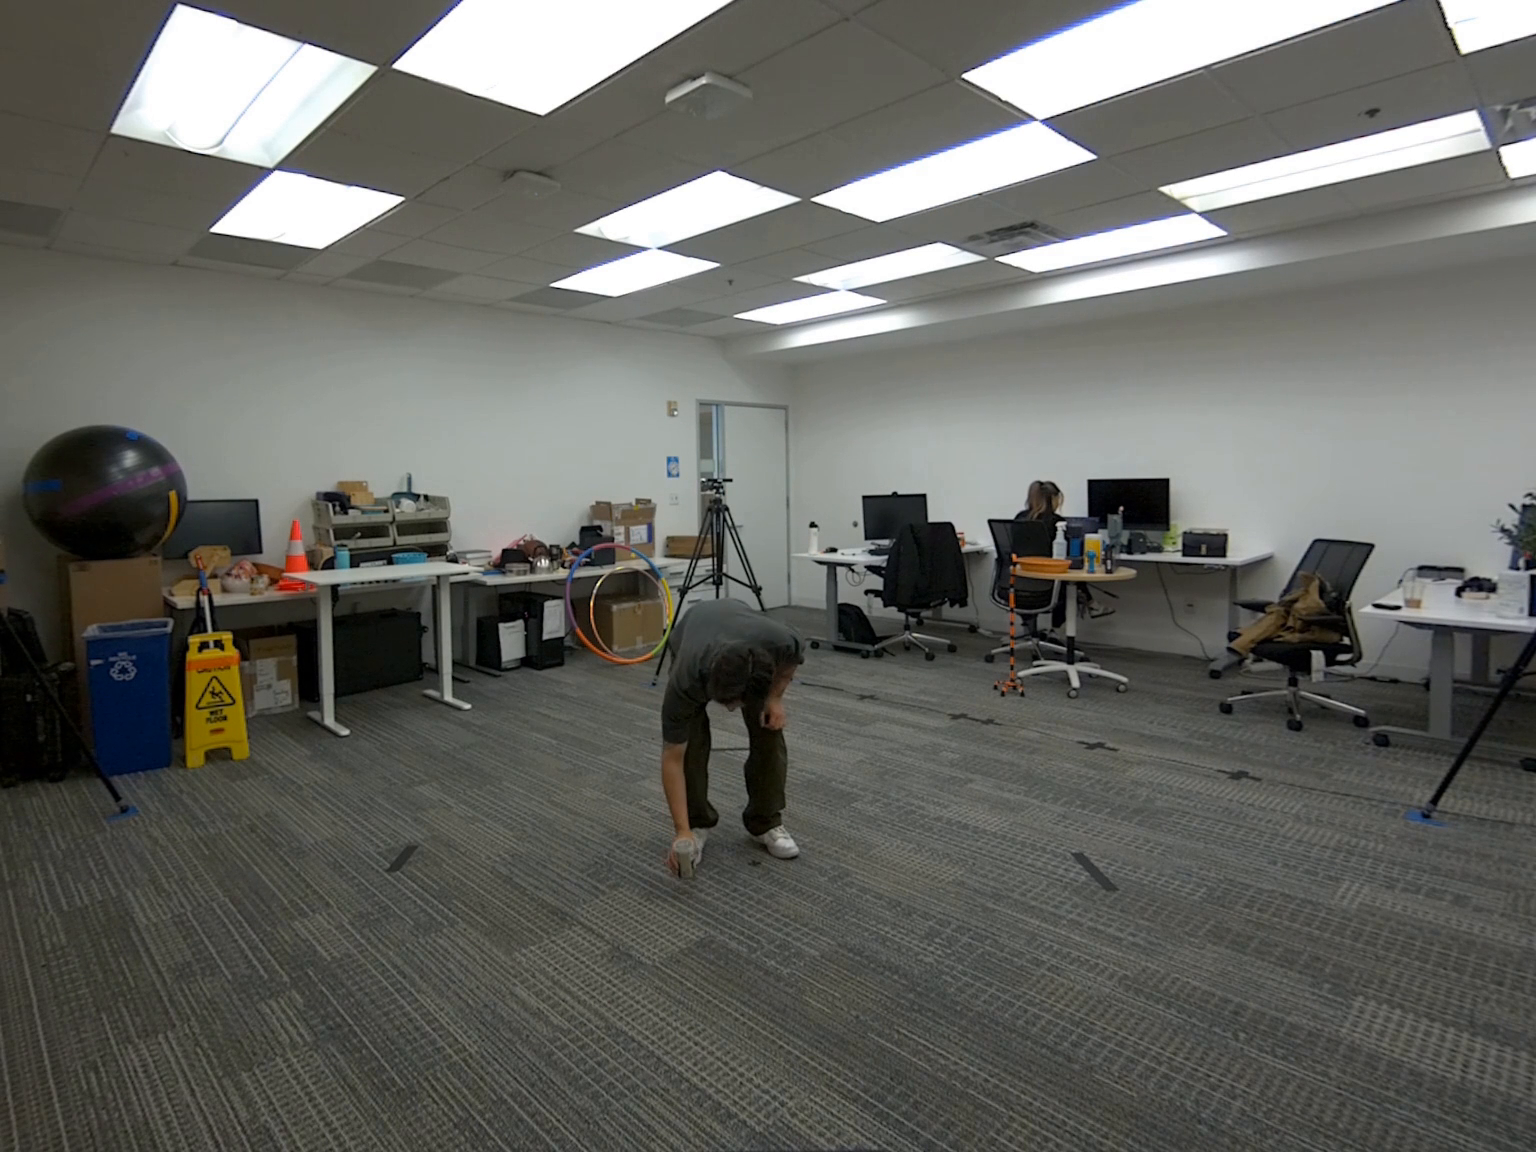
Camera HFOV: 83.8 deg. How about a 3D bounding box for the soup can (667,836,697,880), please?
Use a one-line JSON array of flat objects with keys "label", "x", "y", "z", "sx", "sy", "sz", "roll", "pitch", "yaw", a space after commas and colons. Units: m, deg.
[{"label": "soup can", "x": -0.278, "y": 0.948, "z": 2.851, "sx": 0.067, "sy": 0.120, "sz": 0.068, "roll": -1, "pitch": 12, "yaw": -2}]
